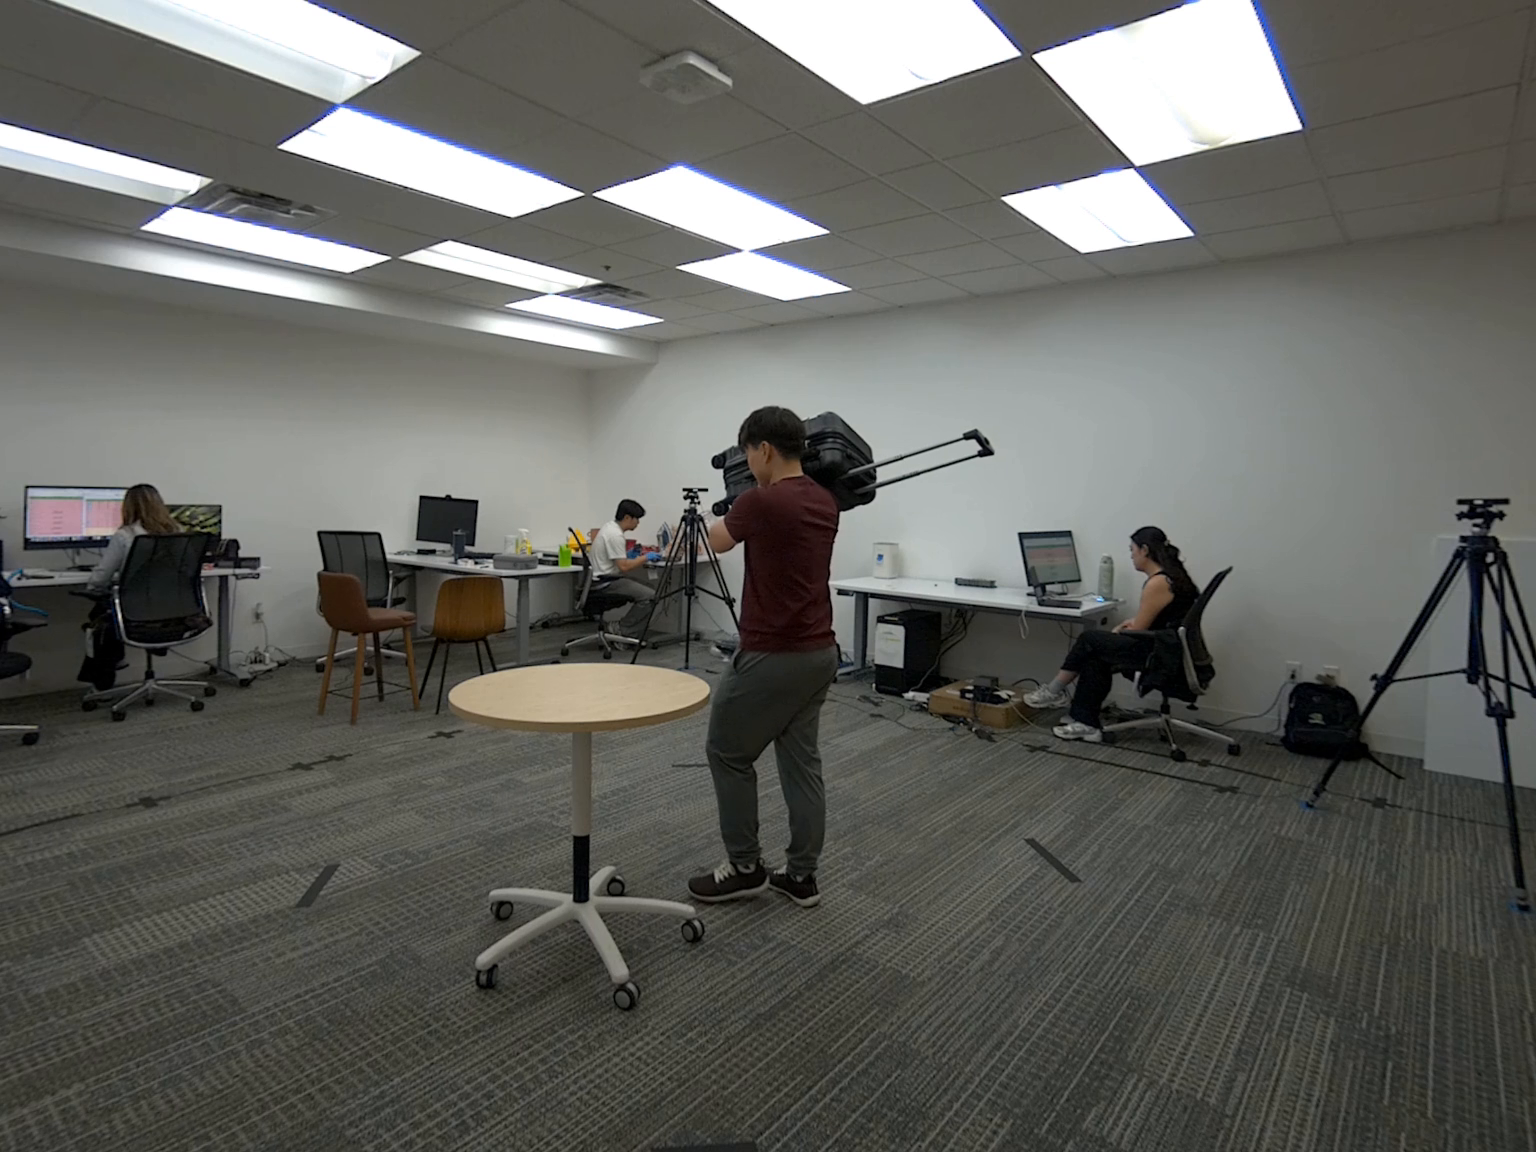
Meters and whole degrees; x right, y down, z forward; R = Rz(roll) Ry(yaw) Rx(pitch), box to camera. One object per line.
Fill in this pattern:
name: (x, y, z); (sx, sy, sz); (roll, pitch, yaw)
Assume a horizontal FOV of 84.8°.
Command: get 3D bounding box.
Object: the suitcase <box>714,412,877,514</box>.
suitcase: (0.265, -0.424, 3.047); (0.997, 0.263, 0.368); (-17, -30, 31)
